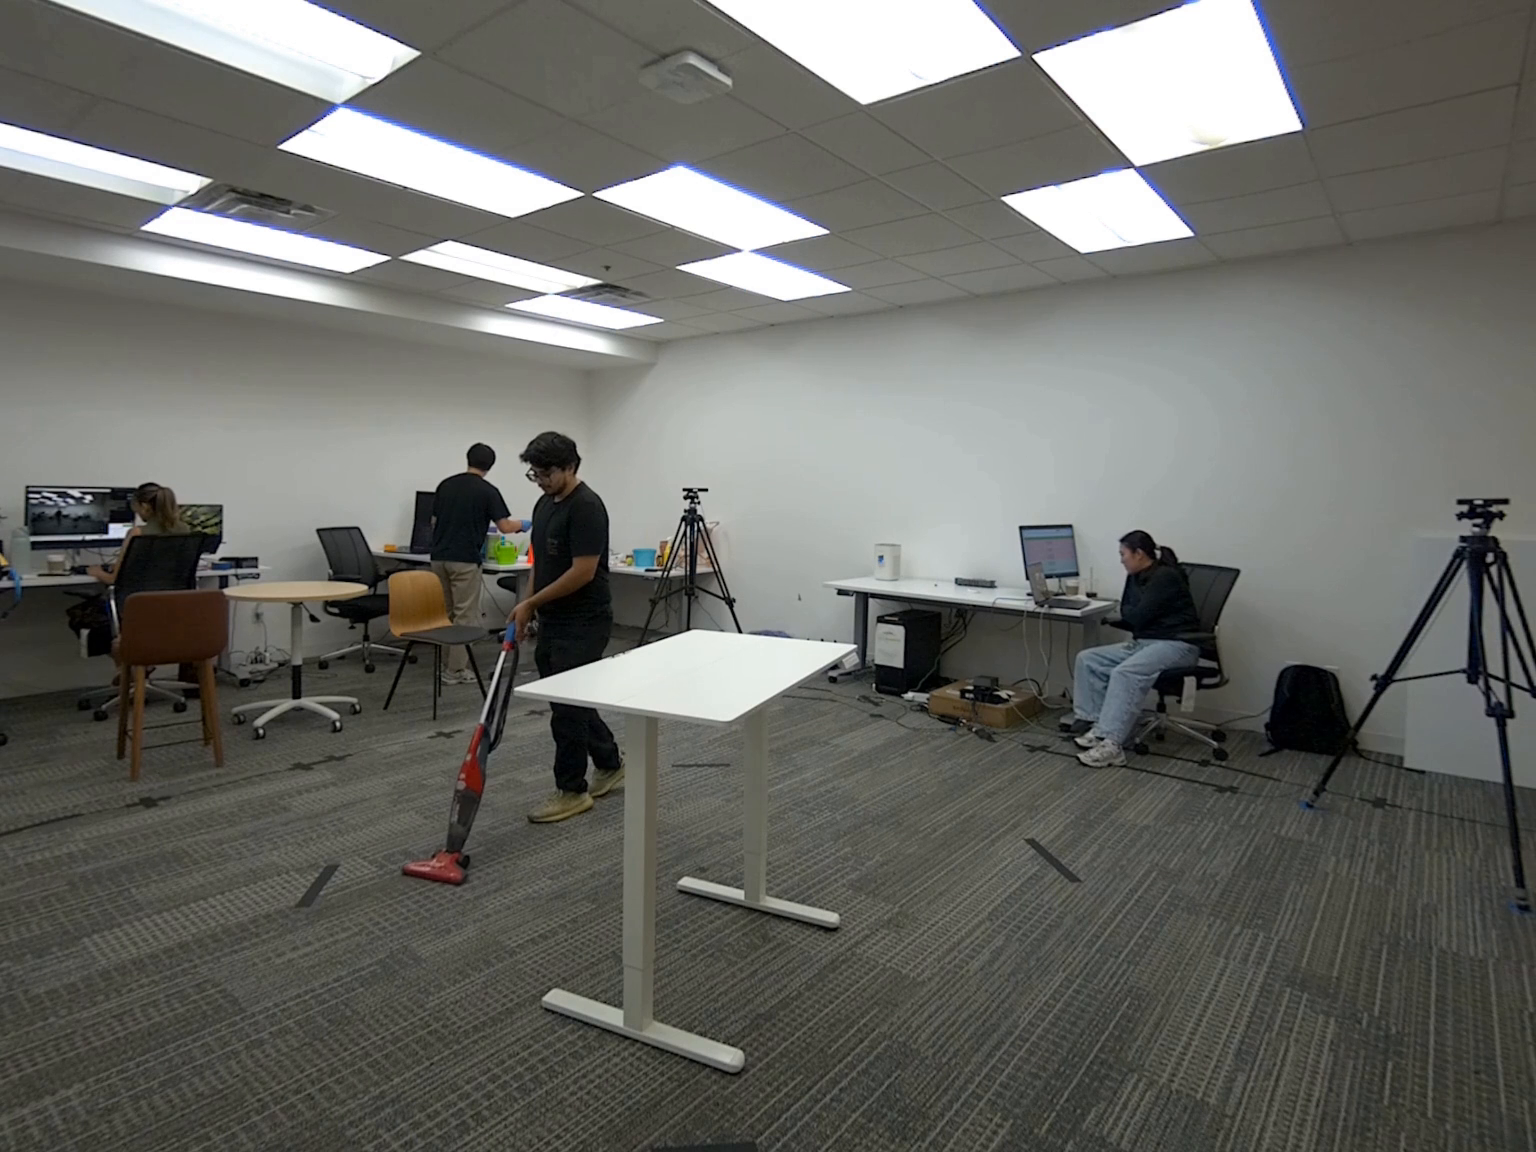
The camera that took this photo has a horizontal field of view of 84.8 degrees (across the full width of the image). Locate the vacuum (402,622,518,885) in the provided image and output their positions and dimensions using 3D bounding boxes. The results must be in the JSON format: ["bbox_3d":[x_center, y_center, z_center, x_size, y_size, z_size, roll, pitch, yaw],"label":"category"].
[{"bbox_3d":[-1.102,0.591,3.292,0.258,1.069,0.138,-1,-30,19],"label":"vacuum"}]
